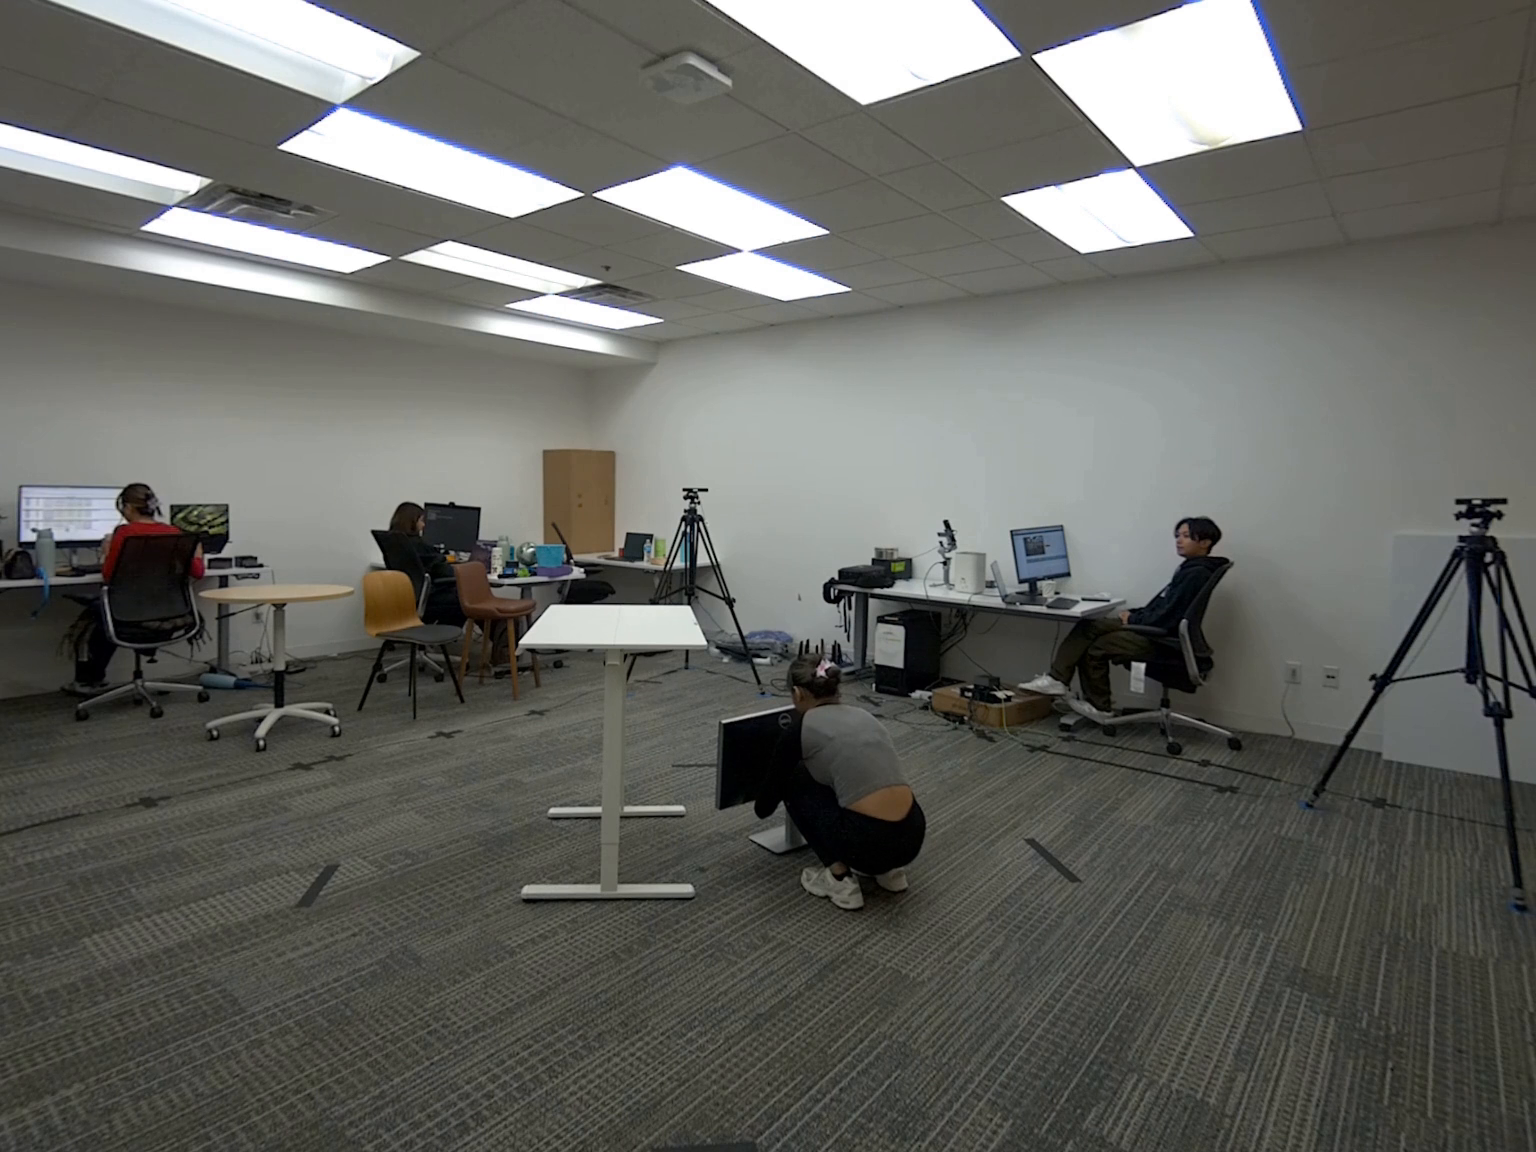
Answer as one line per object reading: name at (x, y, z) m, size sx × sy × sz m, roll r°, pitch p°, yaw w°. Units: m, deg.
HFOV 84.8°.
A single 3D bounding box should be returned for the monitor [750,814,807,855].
monitor at (0.063, 0.777, 3.363) m, size 0.524 × 0.522 × 0.192 m, roll -5°, pitch 2°, yaw -35°
